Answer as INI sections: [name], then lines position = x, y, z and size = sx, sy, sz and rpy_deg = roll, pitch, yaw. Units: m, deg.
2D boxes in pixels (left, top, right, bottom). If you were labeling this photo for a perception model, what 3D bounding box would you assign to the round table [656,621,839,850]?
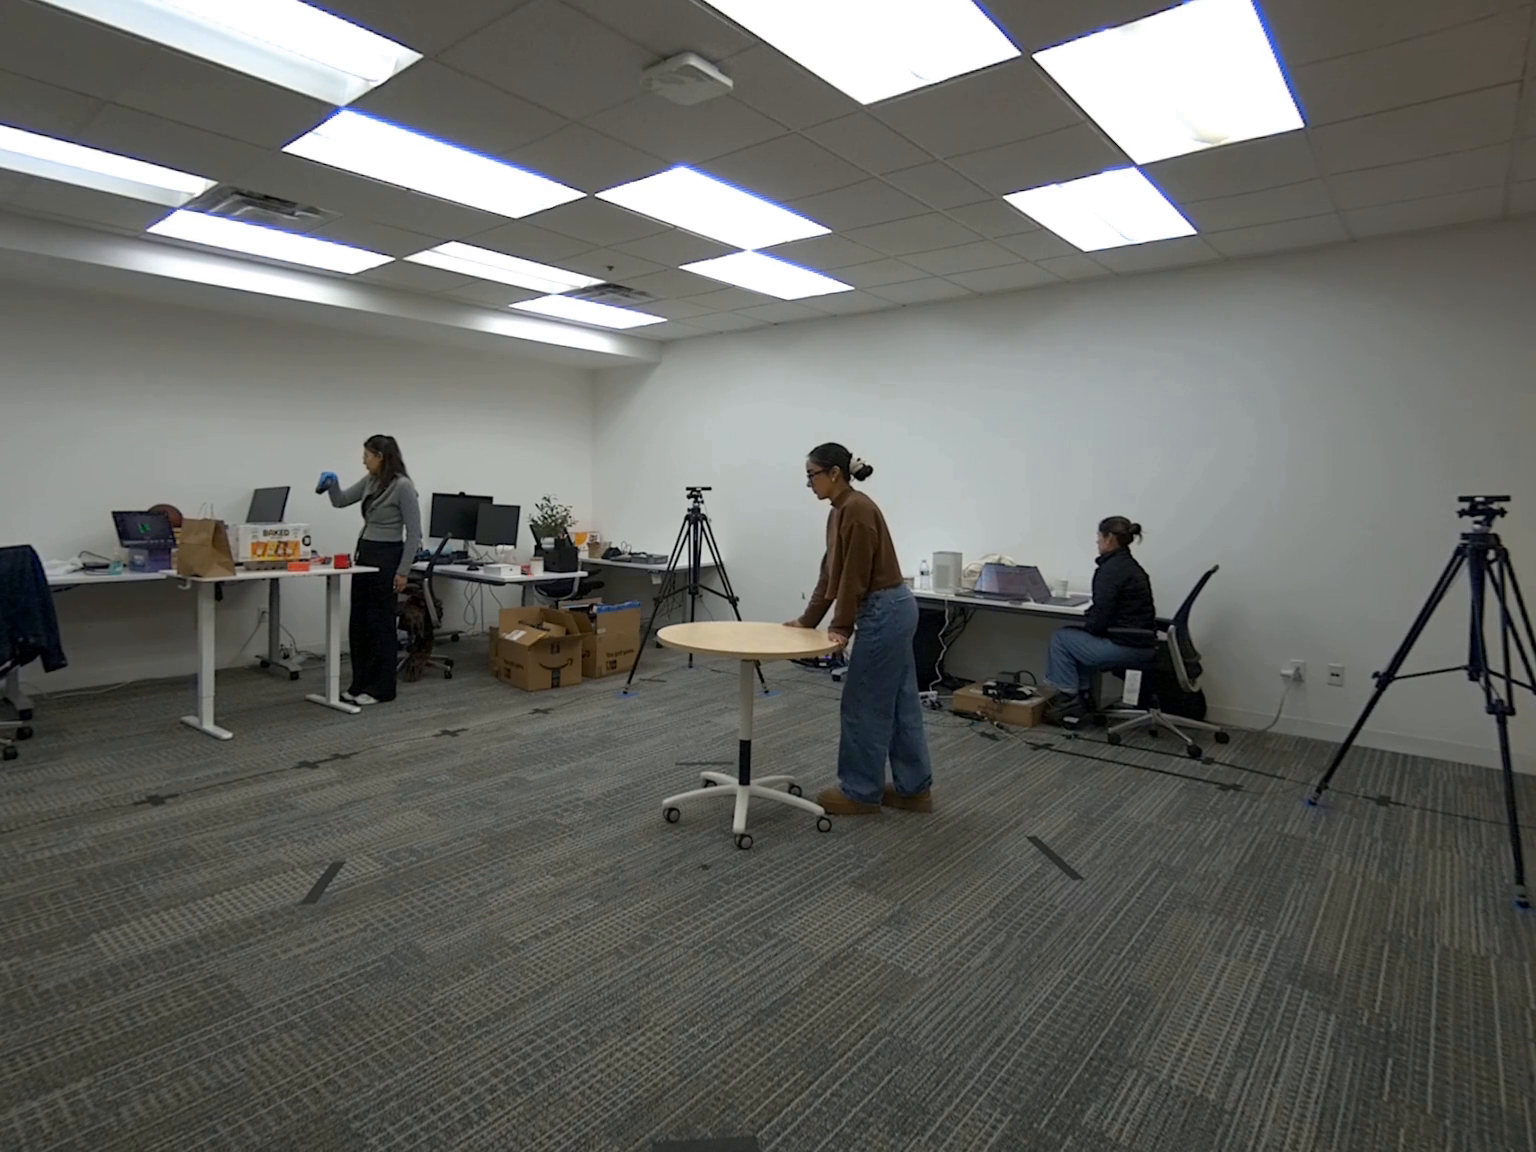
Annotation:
[round table]
position = -0.096, 0.635, 3.593
size = 0.763, 0.791, 0.768
rpy_deg = 1, 4, -2
